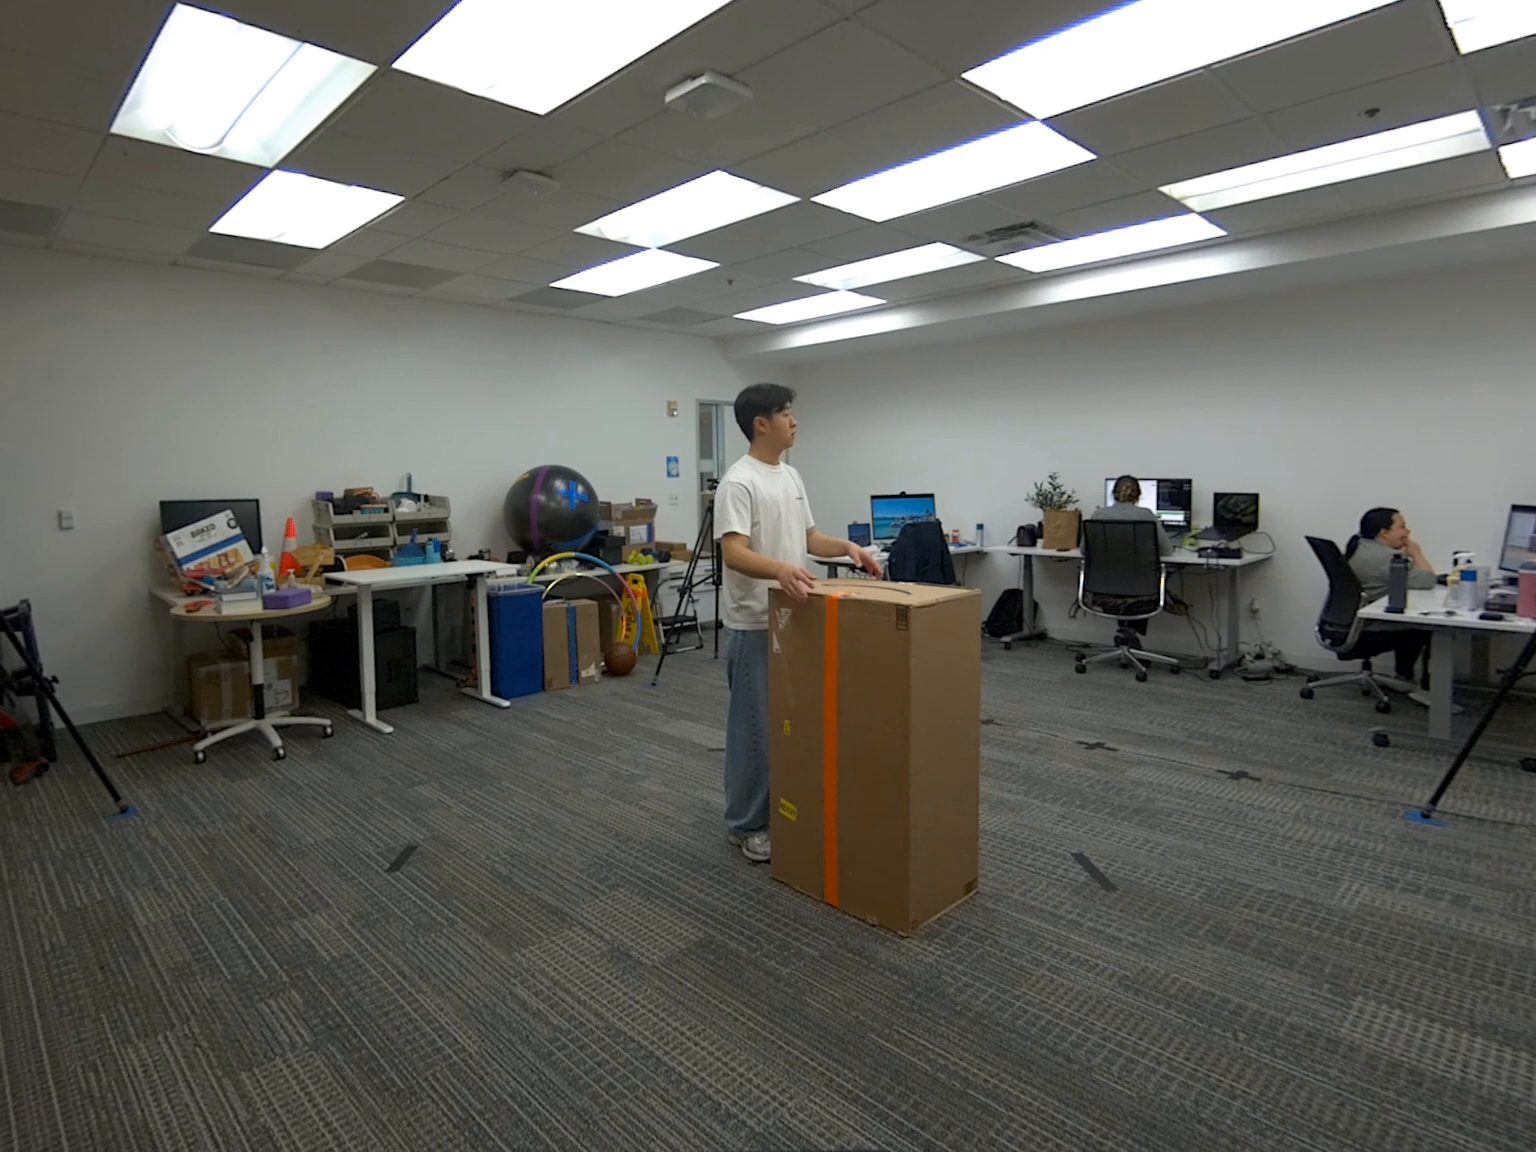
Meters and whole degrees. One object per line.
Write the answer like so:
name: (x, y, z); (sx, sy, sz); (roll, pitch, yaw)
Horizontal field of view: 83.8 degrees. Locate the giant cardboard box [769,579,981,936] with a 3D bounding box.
giant cardboard box: (0.361, 0.552, 2.887); (0.415, 1.022, 0.595); (-5, 6, -44)
